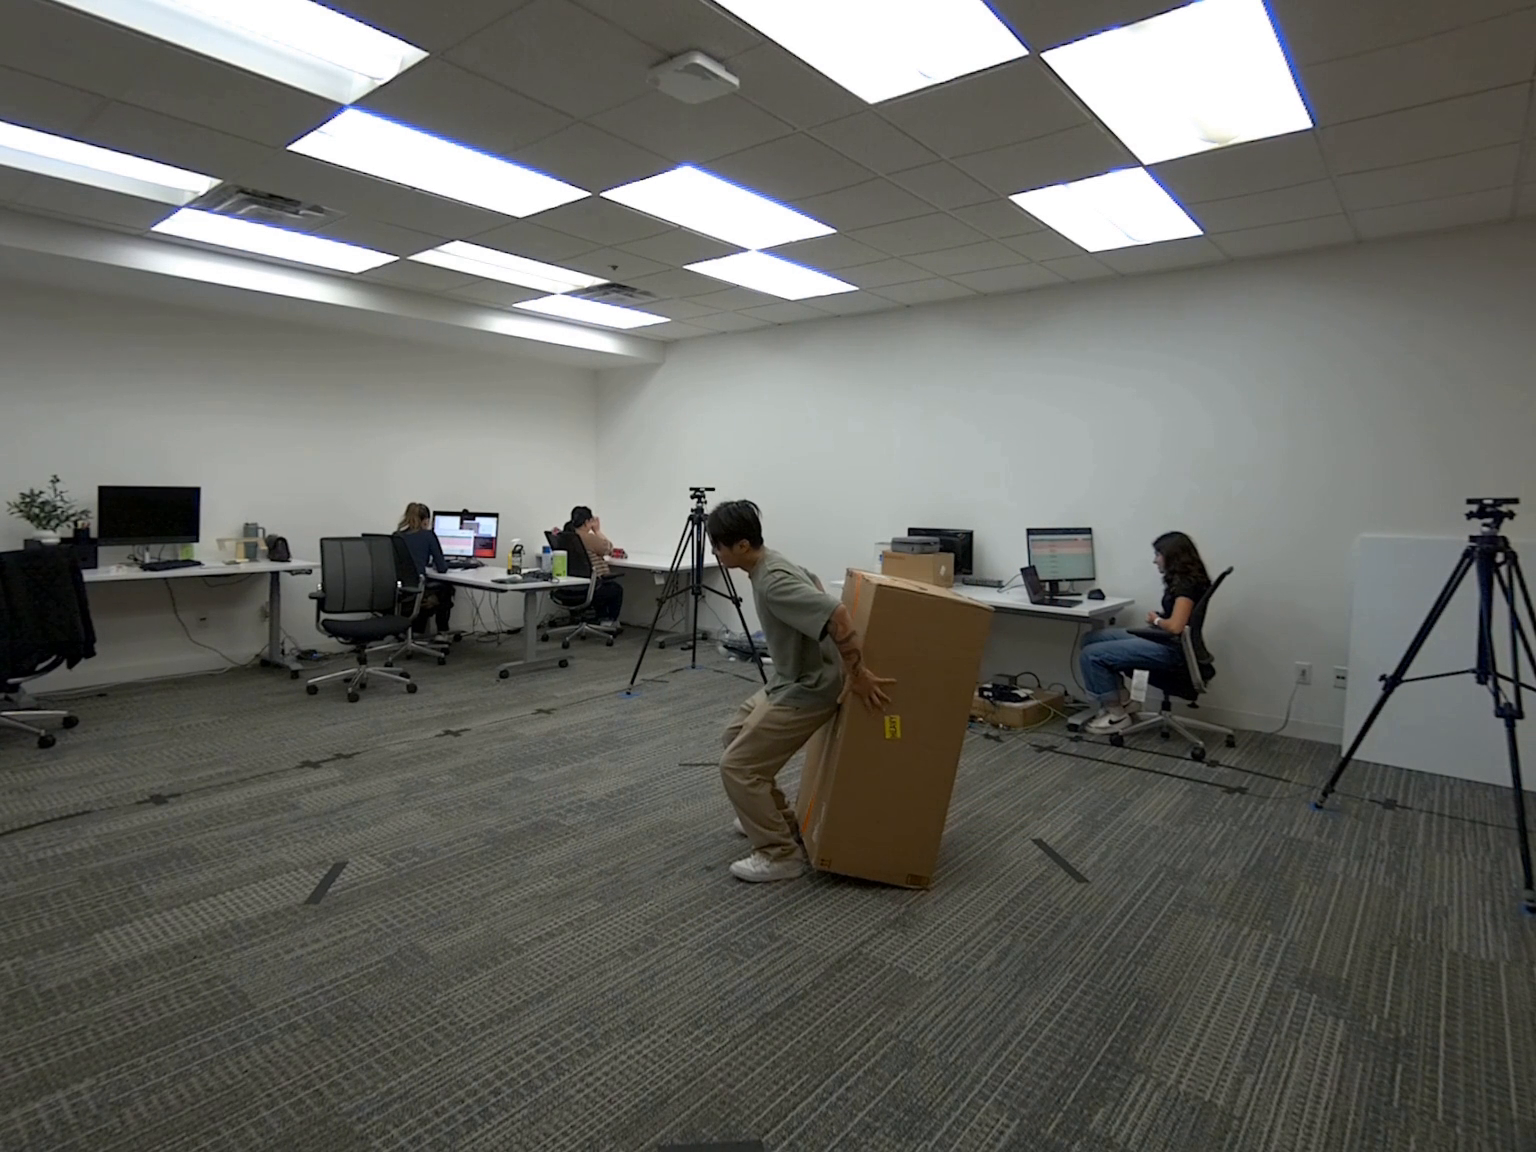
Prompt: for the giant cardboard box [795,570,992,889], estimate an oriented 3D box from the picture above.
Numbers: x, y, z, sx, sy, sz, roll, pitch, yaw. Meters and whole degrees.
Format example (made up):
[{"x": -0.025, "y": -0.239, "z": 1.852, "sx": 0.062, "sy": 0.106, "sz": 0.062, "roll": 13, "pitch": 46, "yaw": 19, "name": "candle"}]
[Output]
[{"x": 0.441, "y": 0.536, "z": 3.226, "sx": 0.424, "sy": 1.023, "sz": 0.582, "roll": 11, "pitch": 4, "yaw": -6, "name": "giant cardboard box"}]
